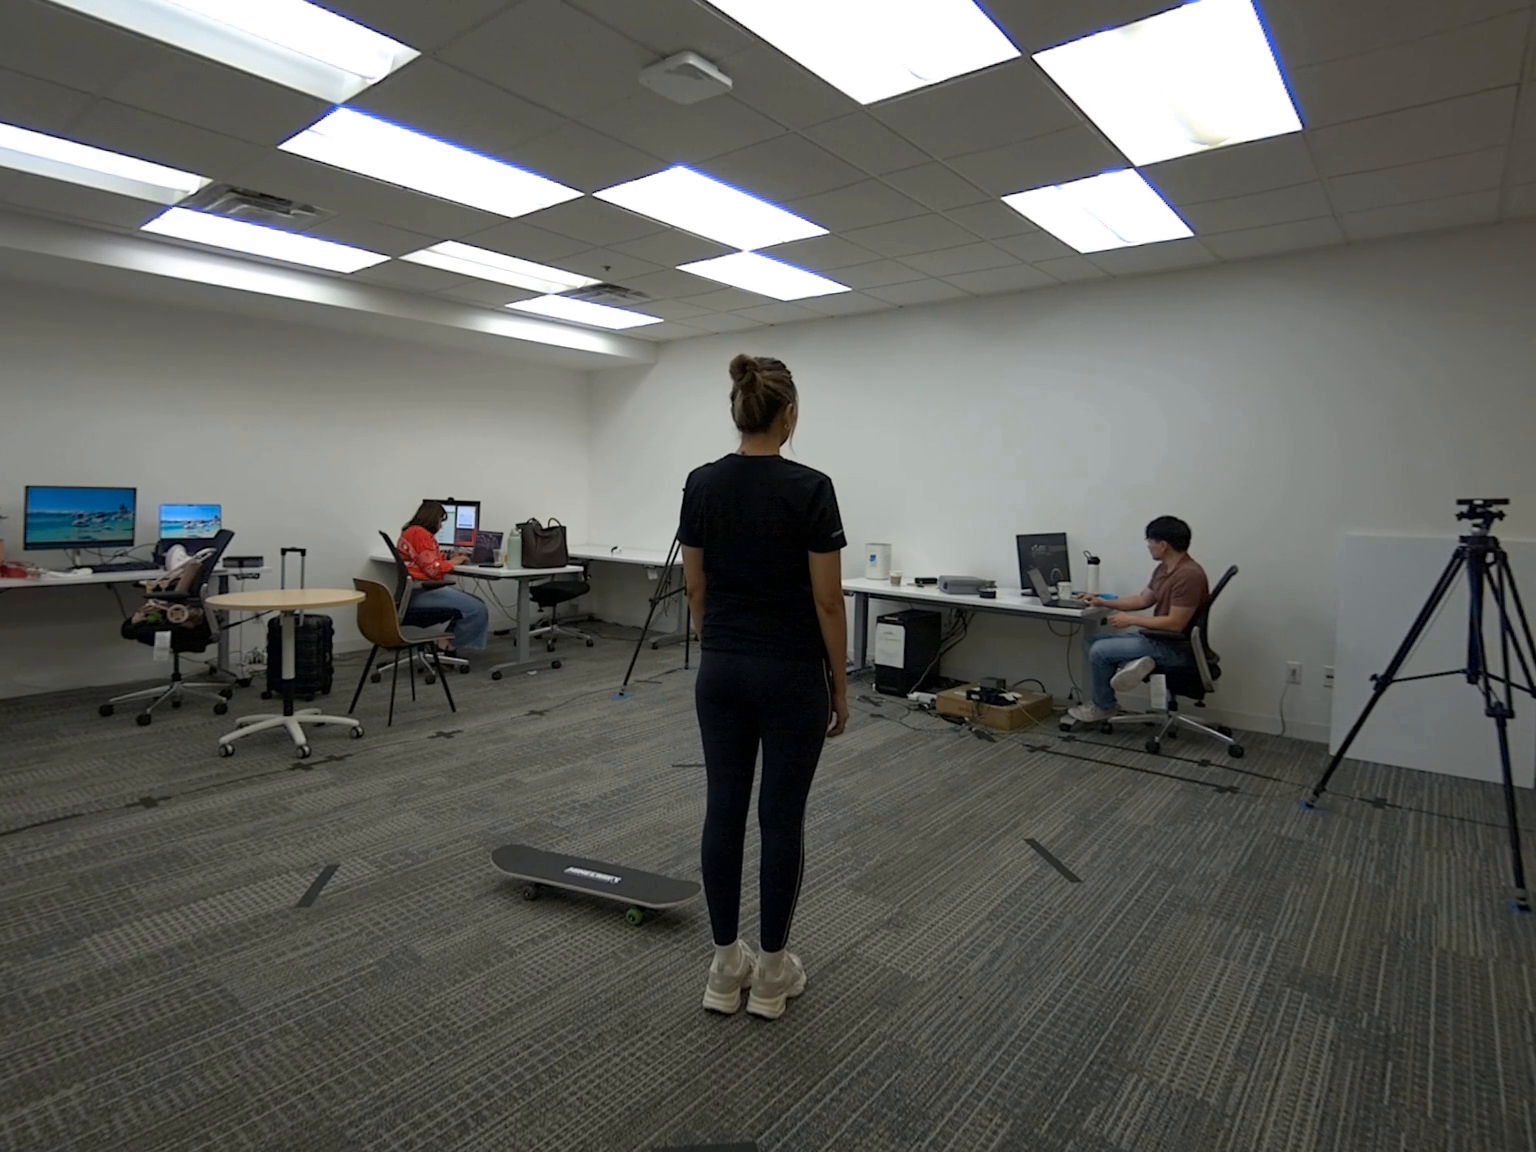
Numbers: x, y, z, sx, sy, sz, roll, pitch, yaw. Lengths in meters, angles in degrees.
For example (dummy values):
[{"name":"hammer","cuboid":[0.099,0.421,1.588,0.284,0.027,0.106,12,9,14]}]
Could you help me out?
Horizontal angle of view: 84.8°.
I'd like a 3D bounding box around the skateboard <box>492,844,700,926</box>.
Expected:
[{"name":"skateboard","cuboid":[-0.600,1.031,2.849,0.804,0.110,0.190,3,6,22]}]
